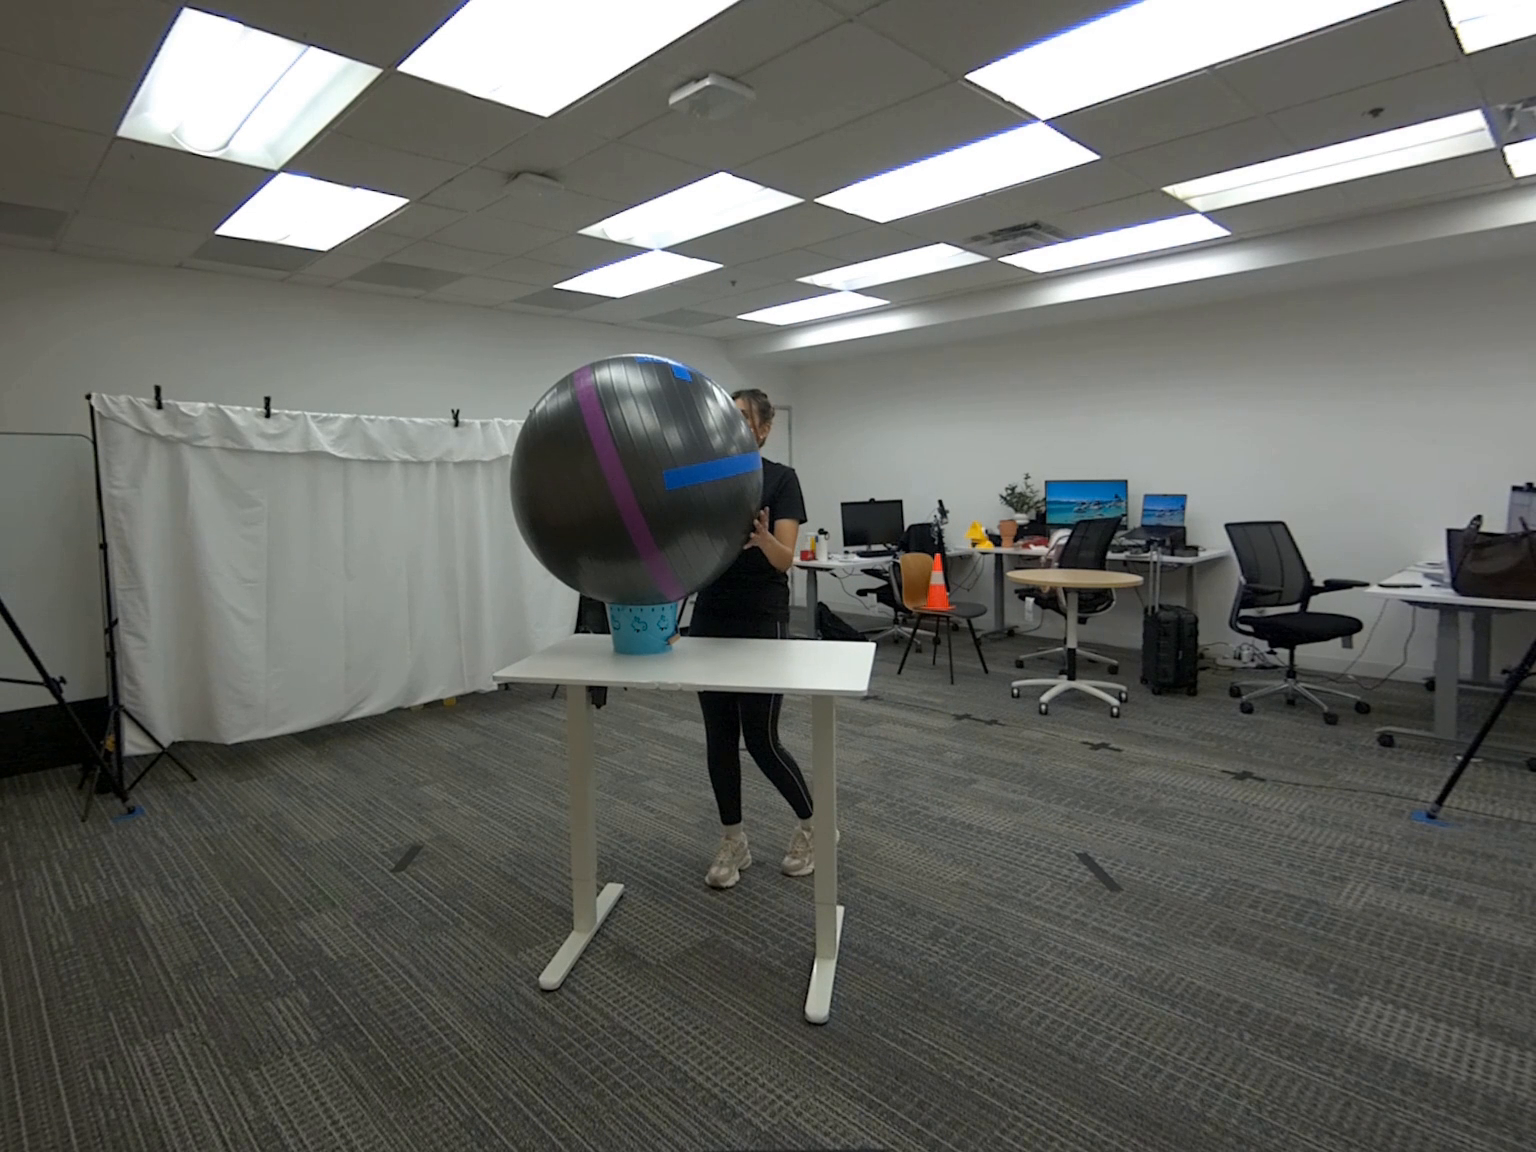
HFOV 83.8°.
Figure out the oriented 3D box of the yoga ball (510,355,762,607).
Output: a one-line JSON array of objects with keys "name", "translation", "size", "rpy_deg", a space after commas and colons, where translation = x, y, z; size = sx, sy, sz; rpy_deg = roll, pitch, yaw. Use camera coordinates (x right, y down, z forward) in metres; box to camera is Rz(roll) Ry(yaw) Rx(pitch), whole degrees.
[{"name": "yoga ball", "translation": [-0.397, -0.281, 2.593], "size": [0.757, 0.755, 0.762], "rpy_deg": [-1, 5, -2]}]
